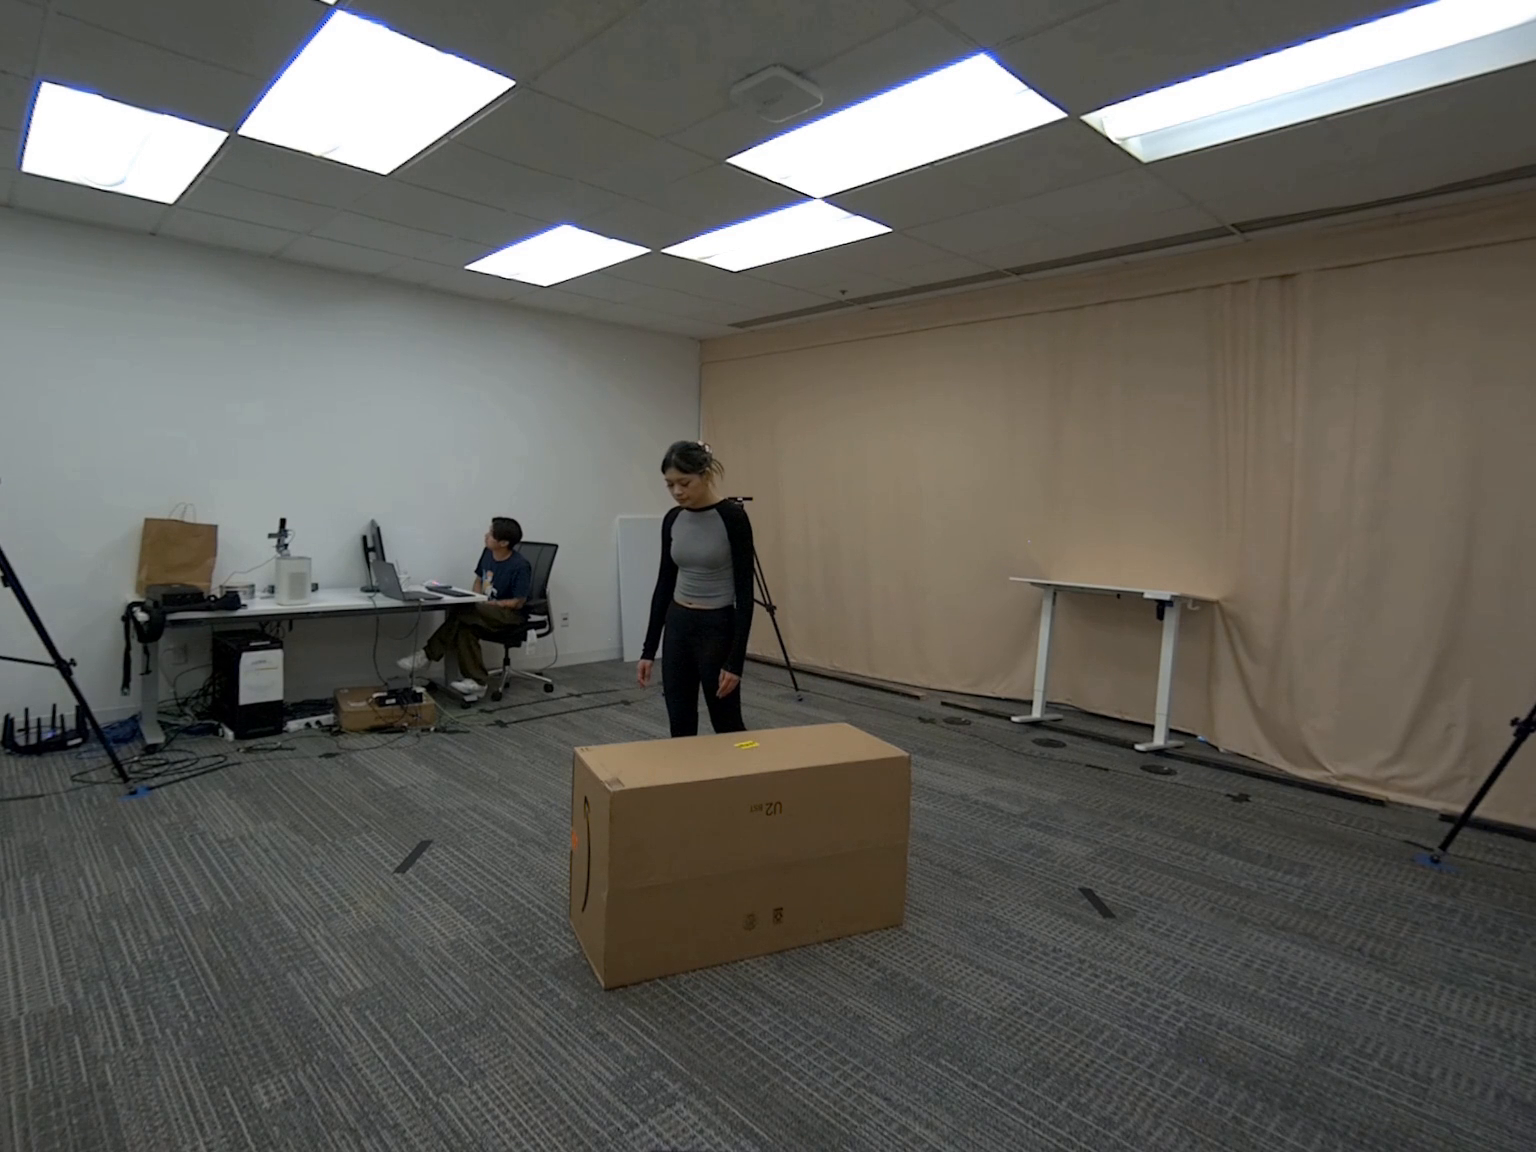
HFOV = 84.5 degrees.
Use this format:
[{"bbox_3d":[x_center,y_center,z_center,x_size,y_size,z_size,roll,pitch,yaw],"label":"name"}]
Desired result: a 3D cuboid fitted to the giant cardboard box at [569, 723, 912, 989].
[{"bbox_3d":[-0.092,0.853,2.745,1.007,0.576,0.435,-1,4,-25],"label":"giant cardboard box"}]
